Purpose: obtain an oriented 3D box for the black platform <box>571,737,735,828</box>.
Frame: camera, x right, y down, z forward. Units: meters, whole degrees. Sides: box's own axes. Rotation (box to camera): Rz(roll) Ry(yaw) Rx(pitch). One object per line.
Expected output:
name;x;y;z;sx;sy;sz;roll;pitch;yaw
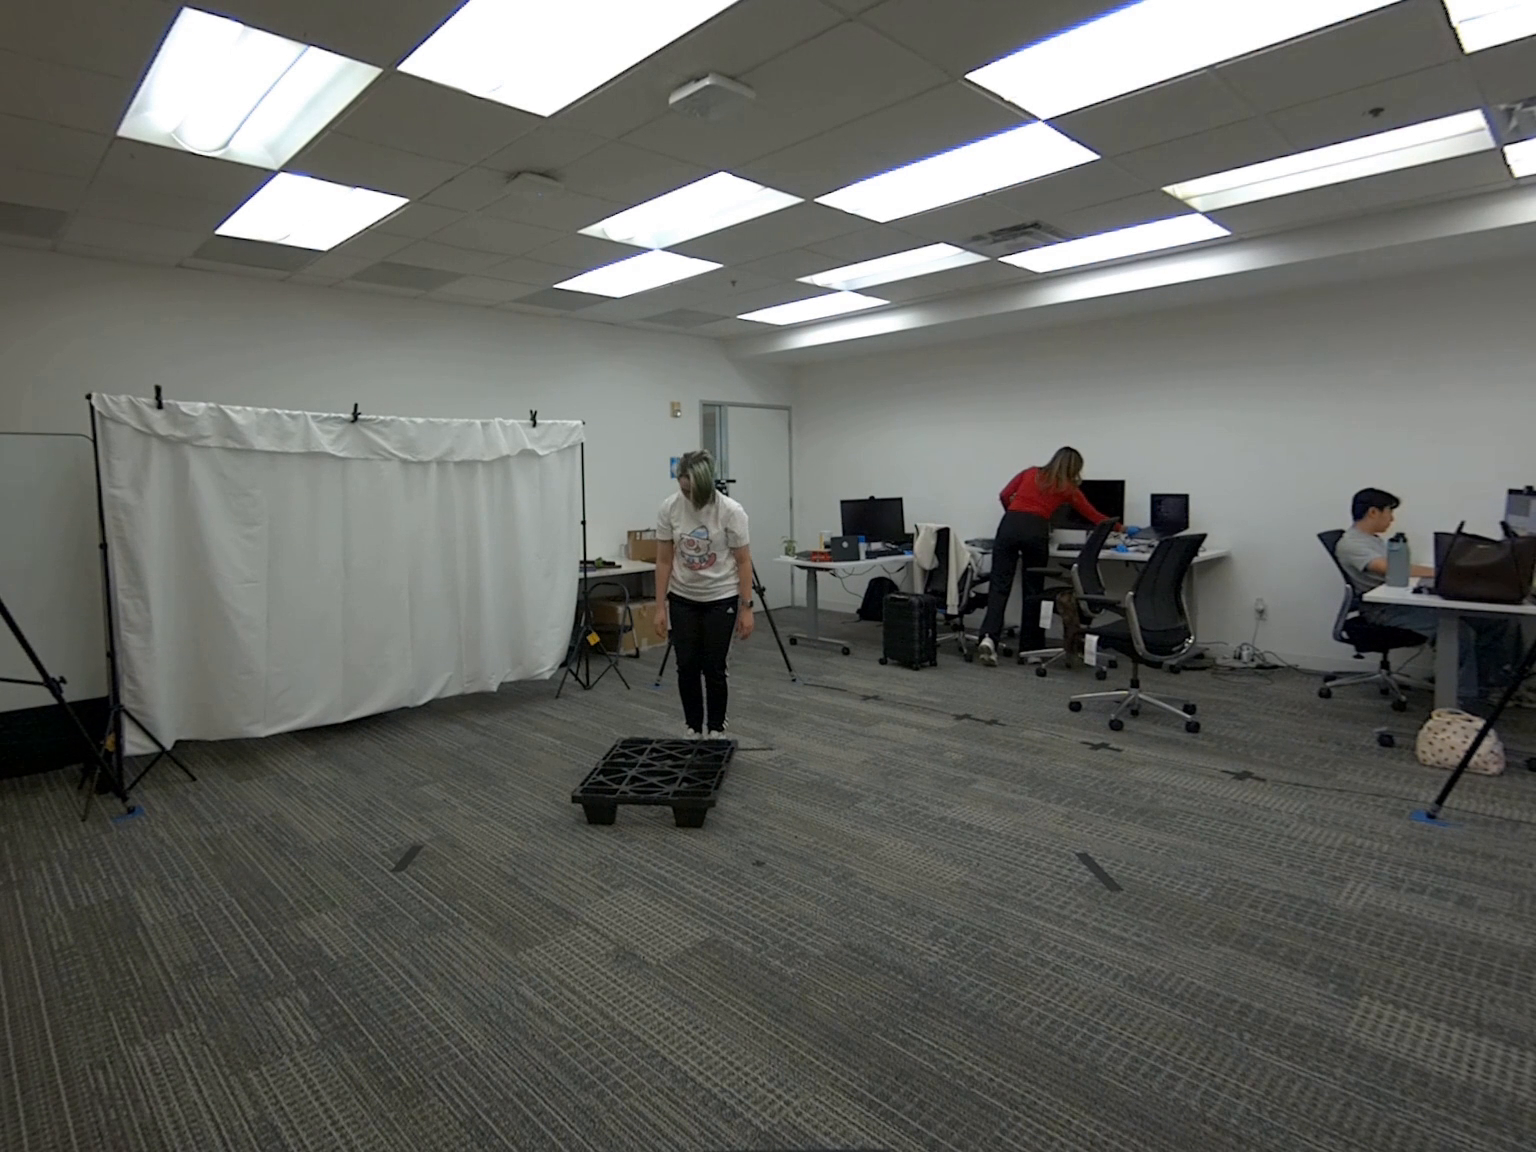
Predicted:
black platform;-0.474;0.907;3.824;0.609;0.143;0.803;-2;6;6
